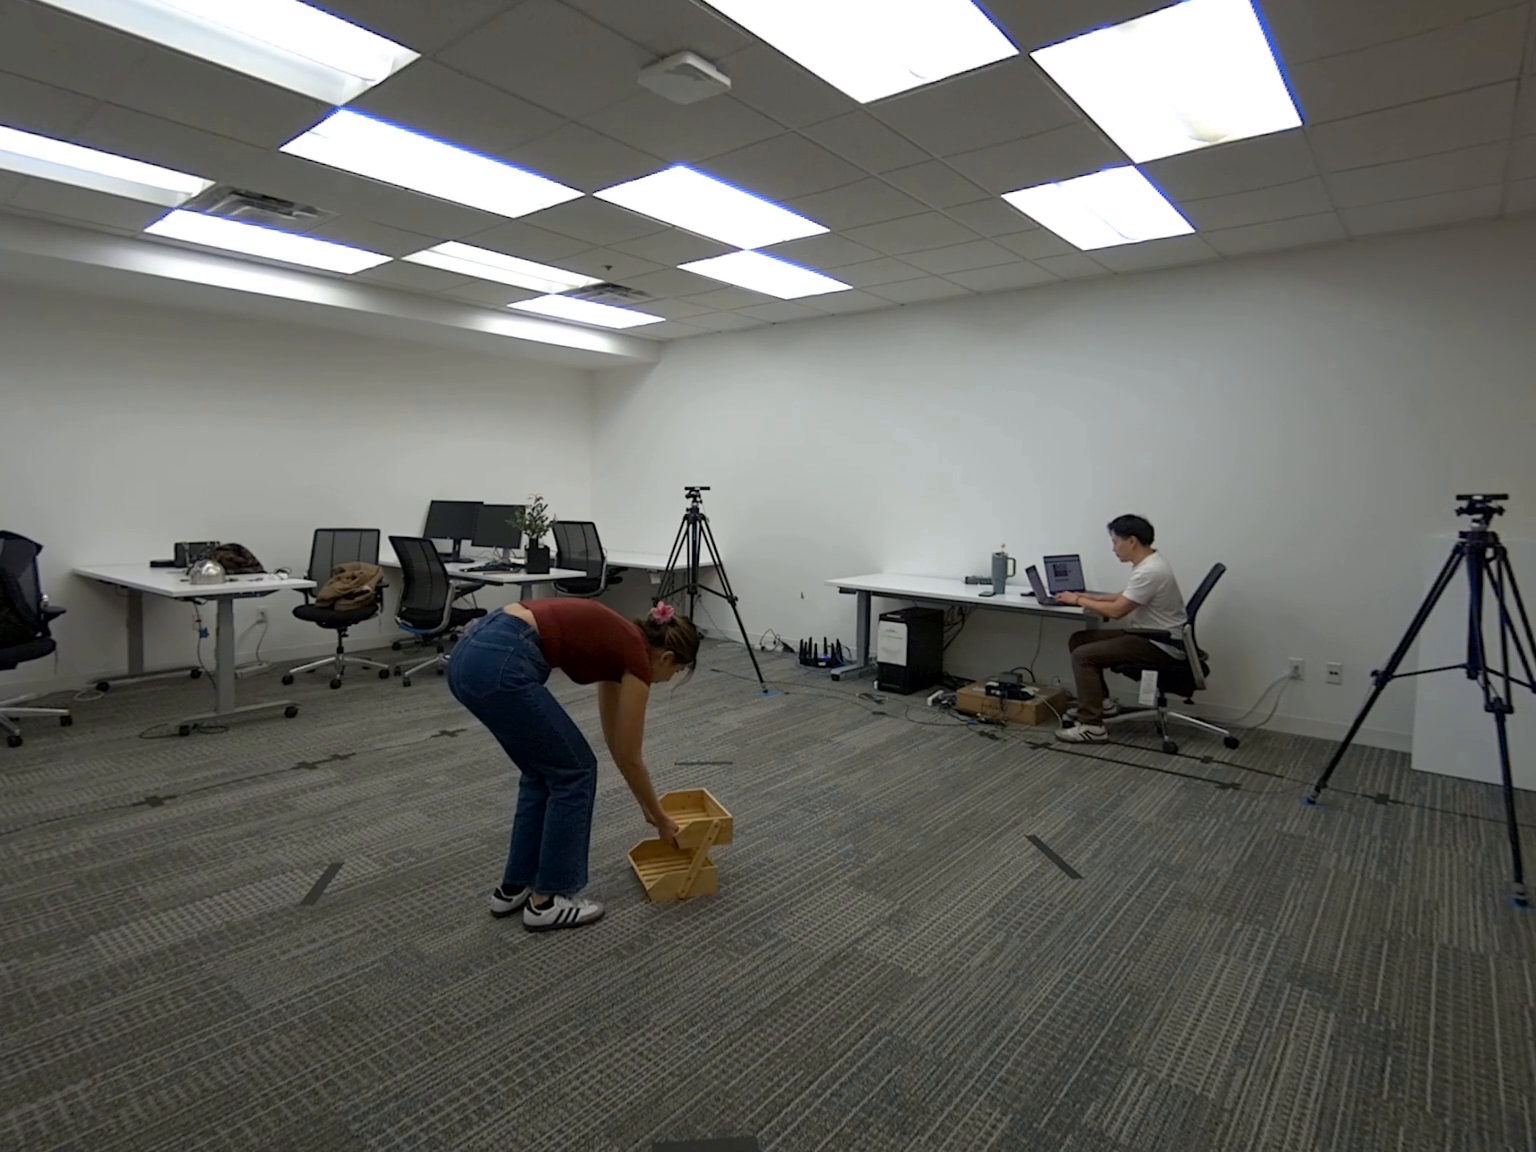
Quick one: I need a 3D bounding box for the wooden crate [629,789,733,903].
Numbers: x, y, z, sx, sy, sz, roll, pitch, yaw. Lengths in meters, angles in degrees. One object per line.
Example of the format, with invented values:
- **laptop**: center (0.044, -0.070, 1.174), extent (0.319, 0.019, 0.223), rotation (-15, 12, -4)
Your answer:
- **wooden crate**: center (-0.334, 0.937, 3.018), extent (0.296, 0.272, 0.332), rotation (-1, 4, -22)
